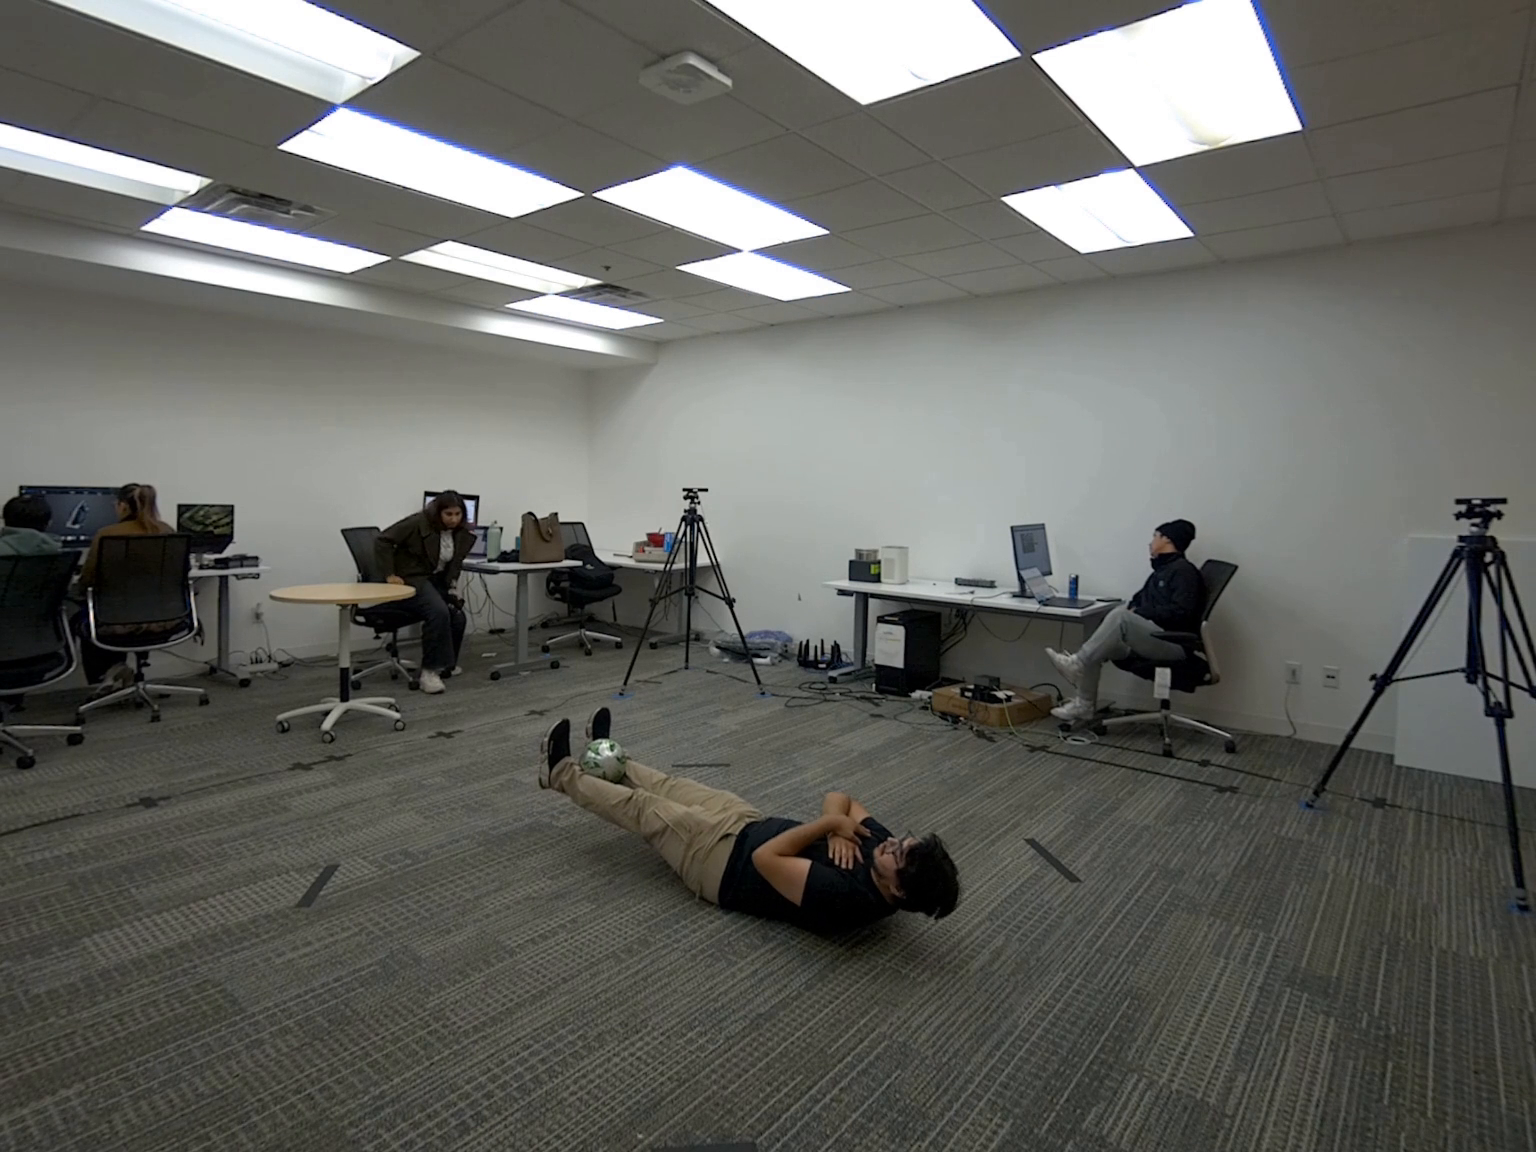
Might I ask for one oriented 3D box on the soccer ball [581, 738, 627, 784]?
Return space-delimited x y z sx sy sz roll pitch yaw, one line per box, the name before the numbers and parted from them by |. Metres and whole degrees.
soccer ball | -0.673 0.743 3.358 0.187 0.187 0.188 0 4 -2
